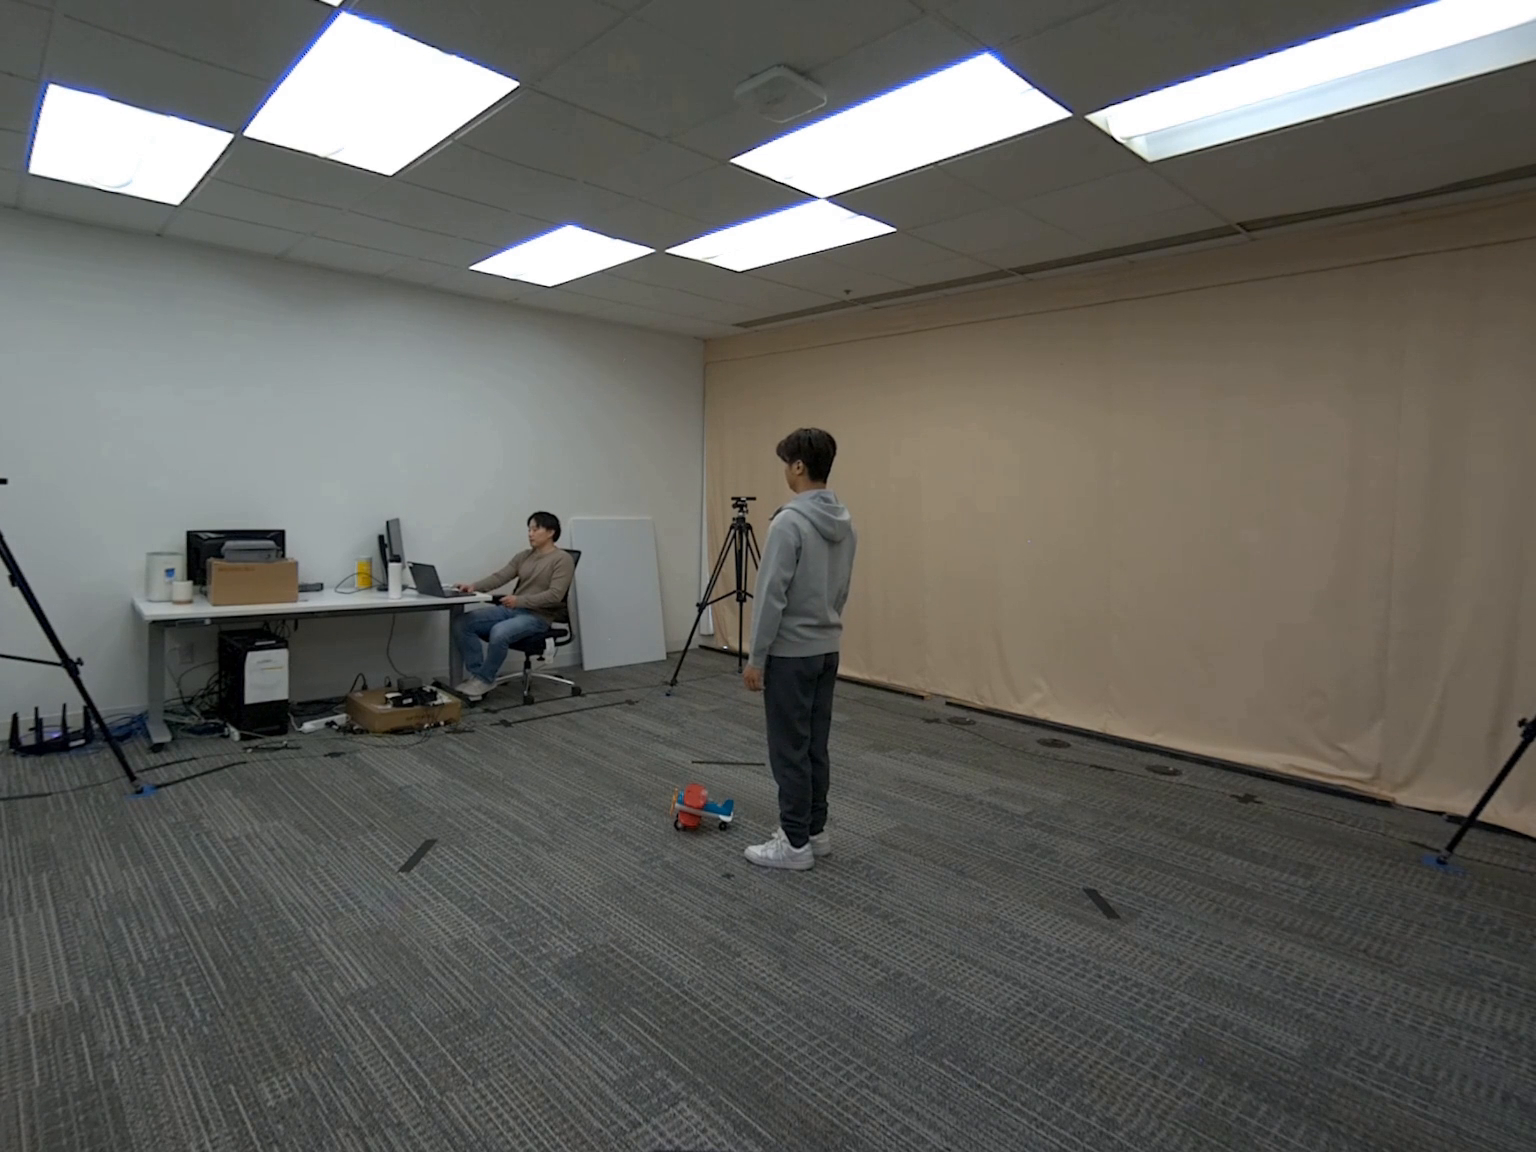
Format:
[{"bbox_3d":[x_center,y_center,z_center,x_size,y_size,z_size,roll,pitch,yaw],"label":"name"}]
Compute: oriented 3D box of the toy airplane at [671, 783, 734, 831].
[{"bbox_3d":[-0.285,0.984,3.573,0.254,0.156,0.256,0,4,-25],"label":"toy airplane"}]
